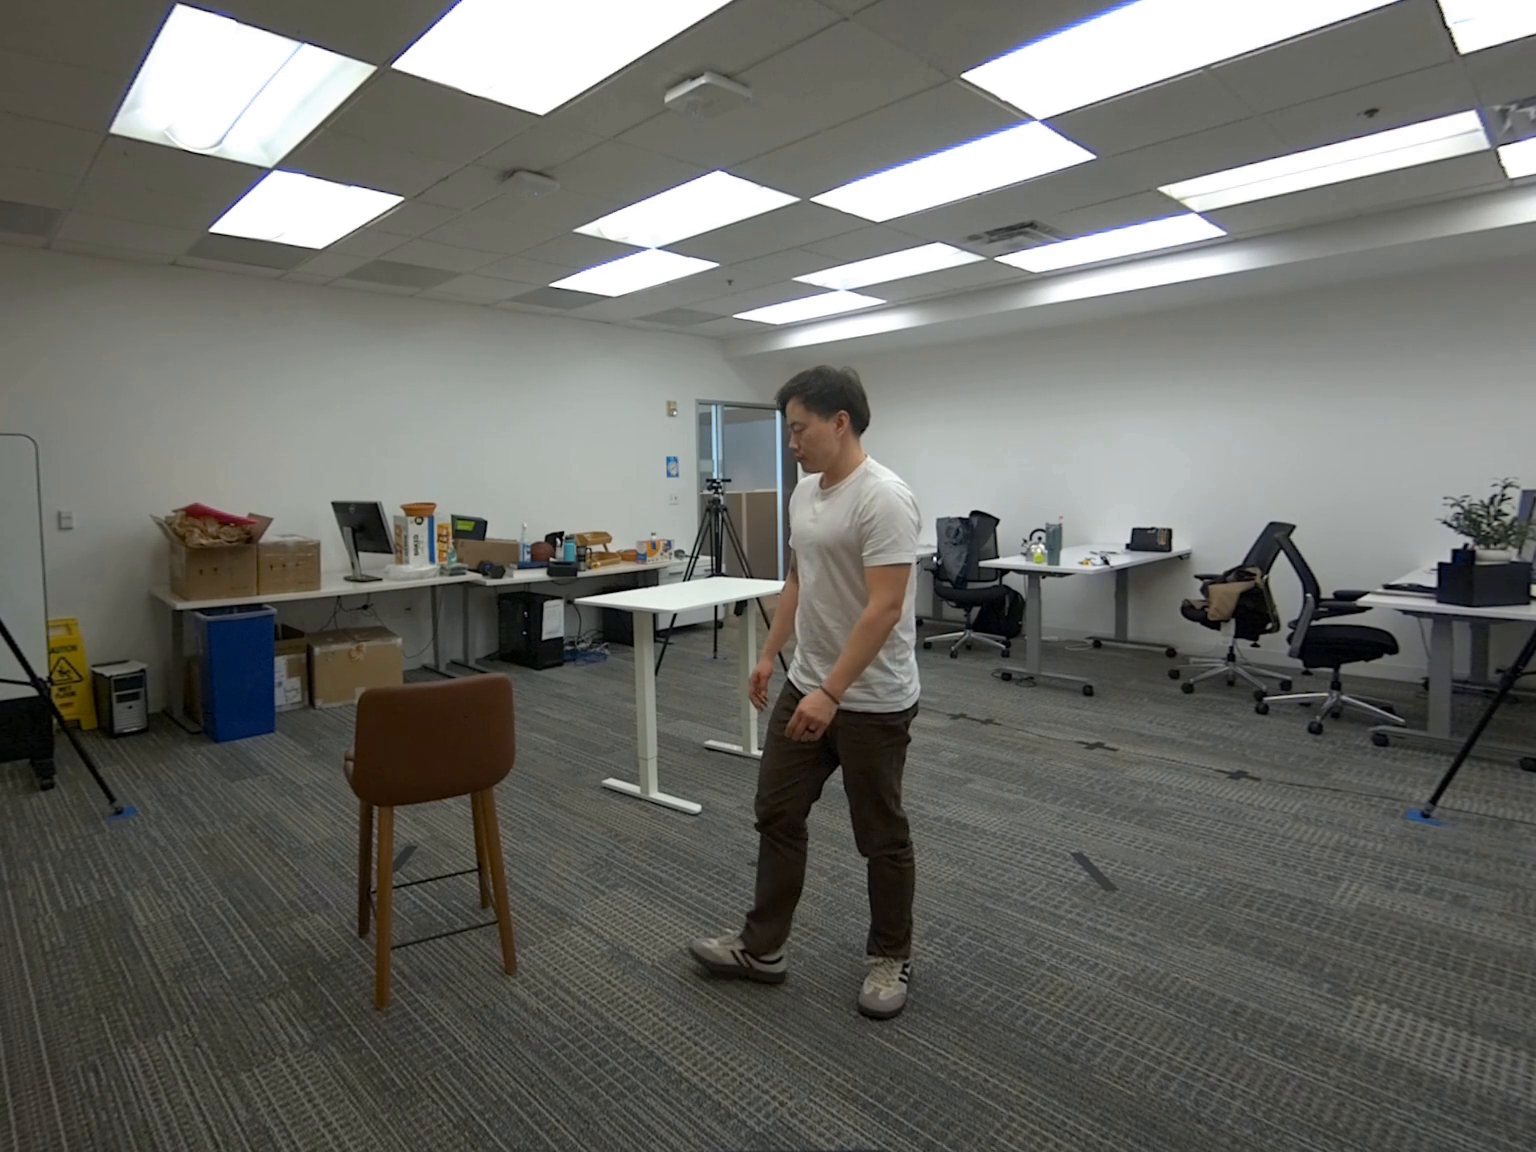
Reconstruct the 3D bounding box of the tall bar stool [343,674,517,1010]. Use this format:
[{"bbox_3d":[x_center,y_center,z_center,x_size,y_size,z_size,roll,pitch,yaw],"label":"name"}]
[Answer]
[{"bbox_3d":[-0.994,0.695,2.528,0.446,0.885,0.481,-3,7,-28],"label":"tall bar stool"}]
